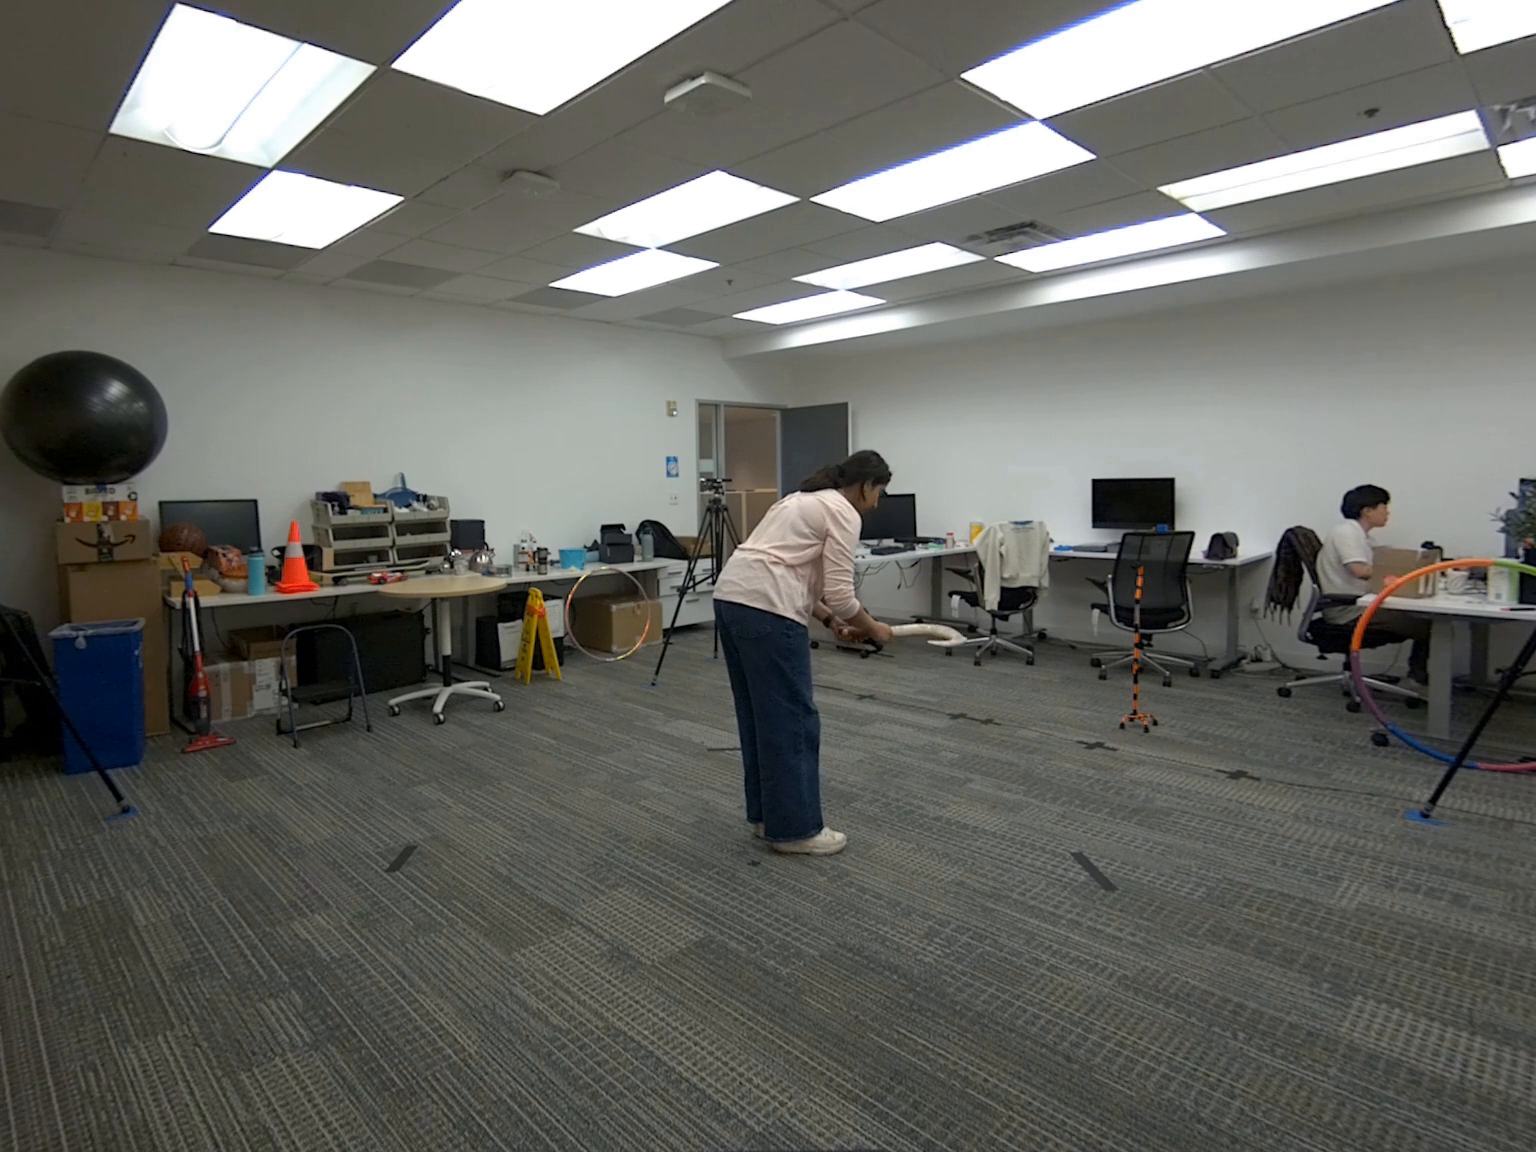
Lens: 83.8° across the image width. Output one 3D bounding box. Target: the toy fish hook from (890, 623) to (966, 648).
[{"bbox_3d":[0.534,0.229,3.329,0.499,0.048,0.229,0,10,-14],"label":"toy fish hook"}]
